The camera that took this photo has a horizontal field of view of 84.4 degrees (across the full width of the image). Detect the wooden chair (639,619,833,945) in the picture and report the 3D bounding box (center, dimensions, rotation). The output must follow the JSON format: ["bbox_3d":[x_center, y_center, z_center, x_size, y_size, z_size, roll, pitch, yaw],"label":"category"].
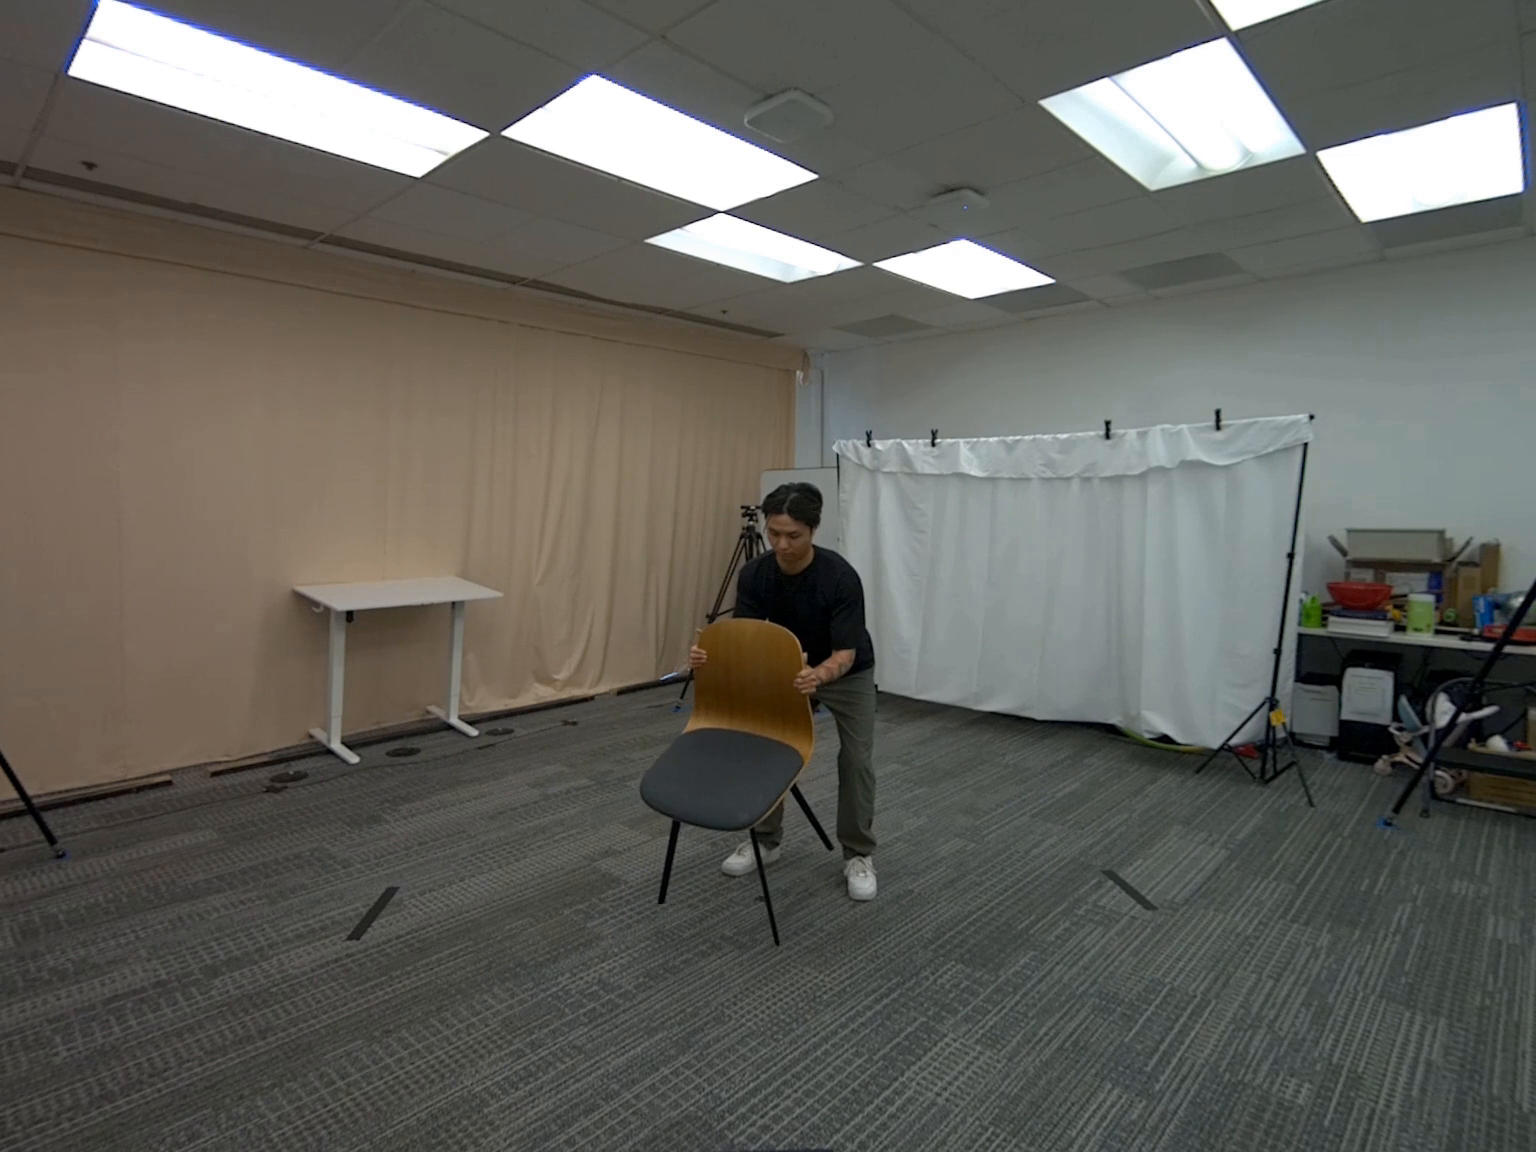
[{"bbox_3d":[-0.116,0.647,2.716,0.492,0.866,0.515,6,21,29],"label":"wooden chair"}]
